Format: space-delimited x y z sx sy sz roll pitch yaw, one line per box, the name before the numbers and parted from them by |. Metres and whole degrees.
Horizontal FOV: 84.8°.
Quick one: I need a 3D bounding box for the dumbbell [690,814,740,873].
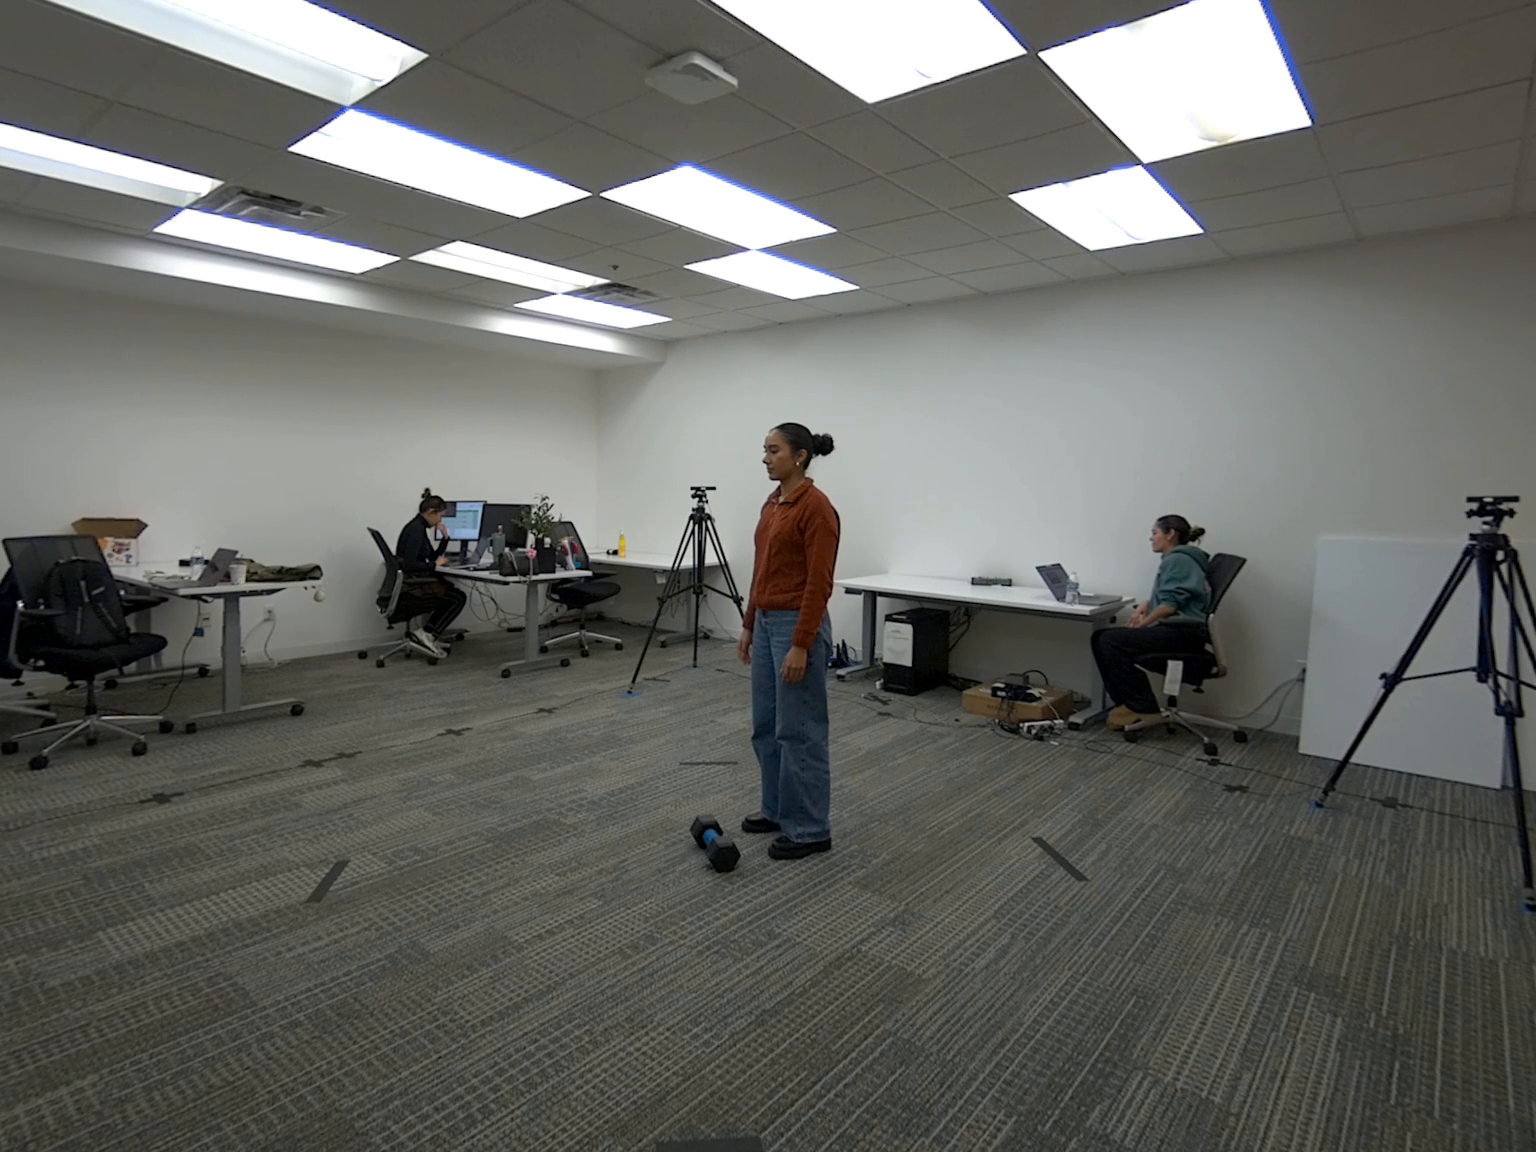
dumbbell | -0.212 1.000 3.203 0.106 0.123 0.300 32 -6 -20
